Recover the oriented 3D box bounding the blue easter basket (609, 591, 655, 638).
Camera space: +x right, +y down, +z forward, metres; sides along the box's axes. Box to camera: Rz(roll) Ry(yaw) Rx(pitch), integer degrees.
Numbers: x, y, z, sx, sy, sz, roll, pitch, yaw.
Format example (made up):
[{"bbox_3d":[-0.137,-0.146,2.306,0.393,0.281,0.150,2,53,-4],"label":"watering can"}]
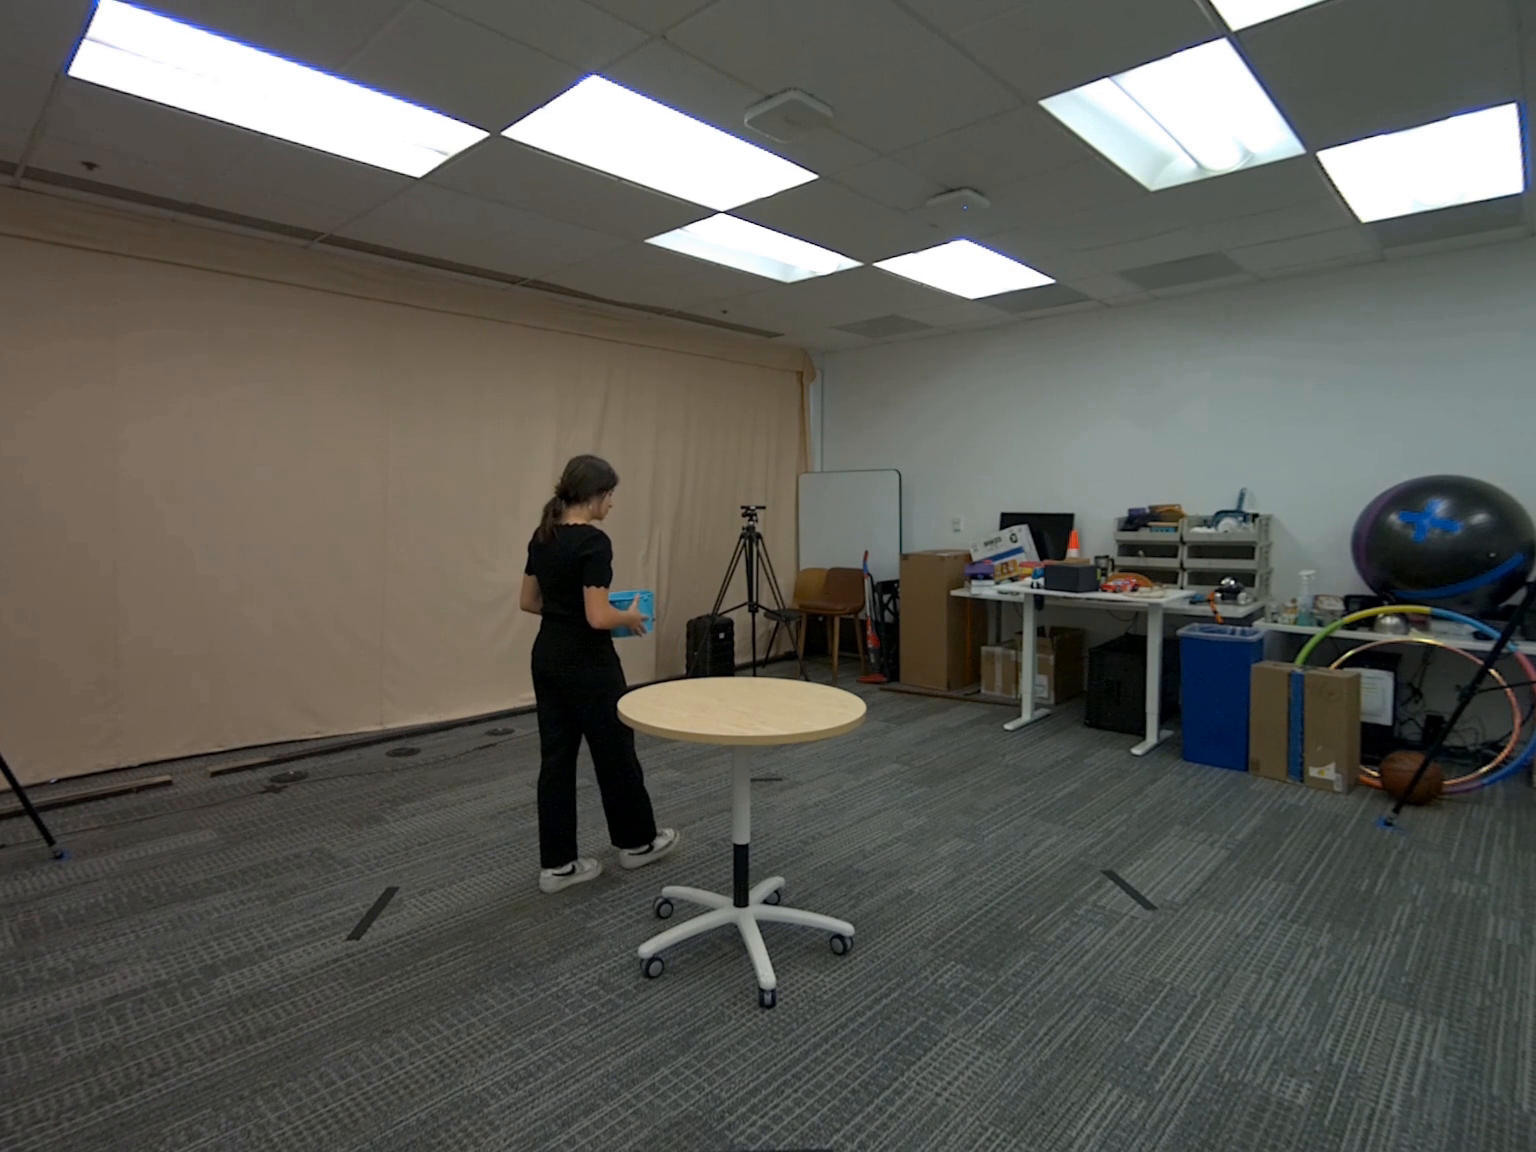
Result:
[{"bbox_3d":[-0.553,0.150,3.315,0.243,0.155,0.245,-6,6,-1],"label":"blue easter basket"}]
